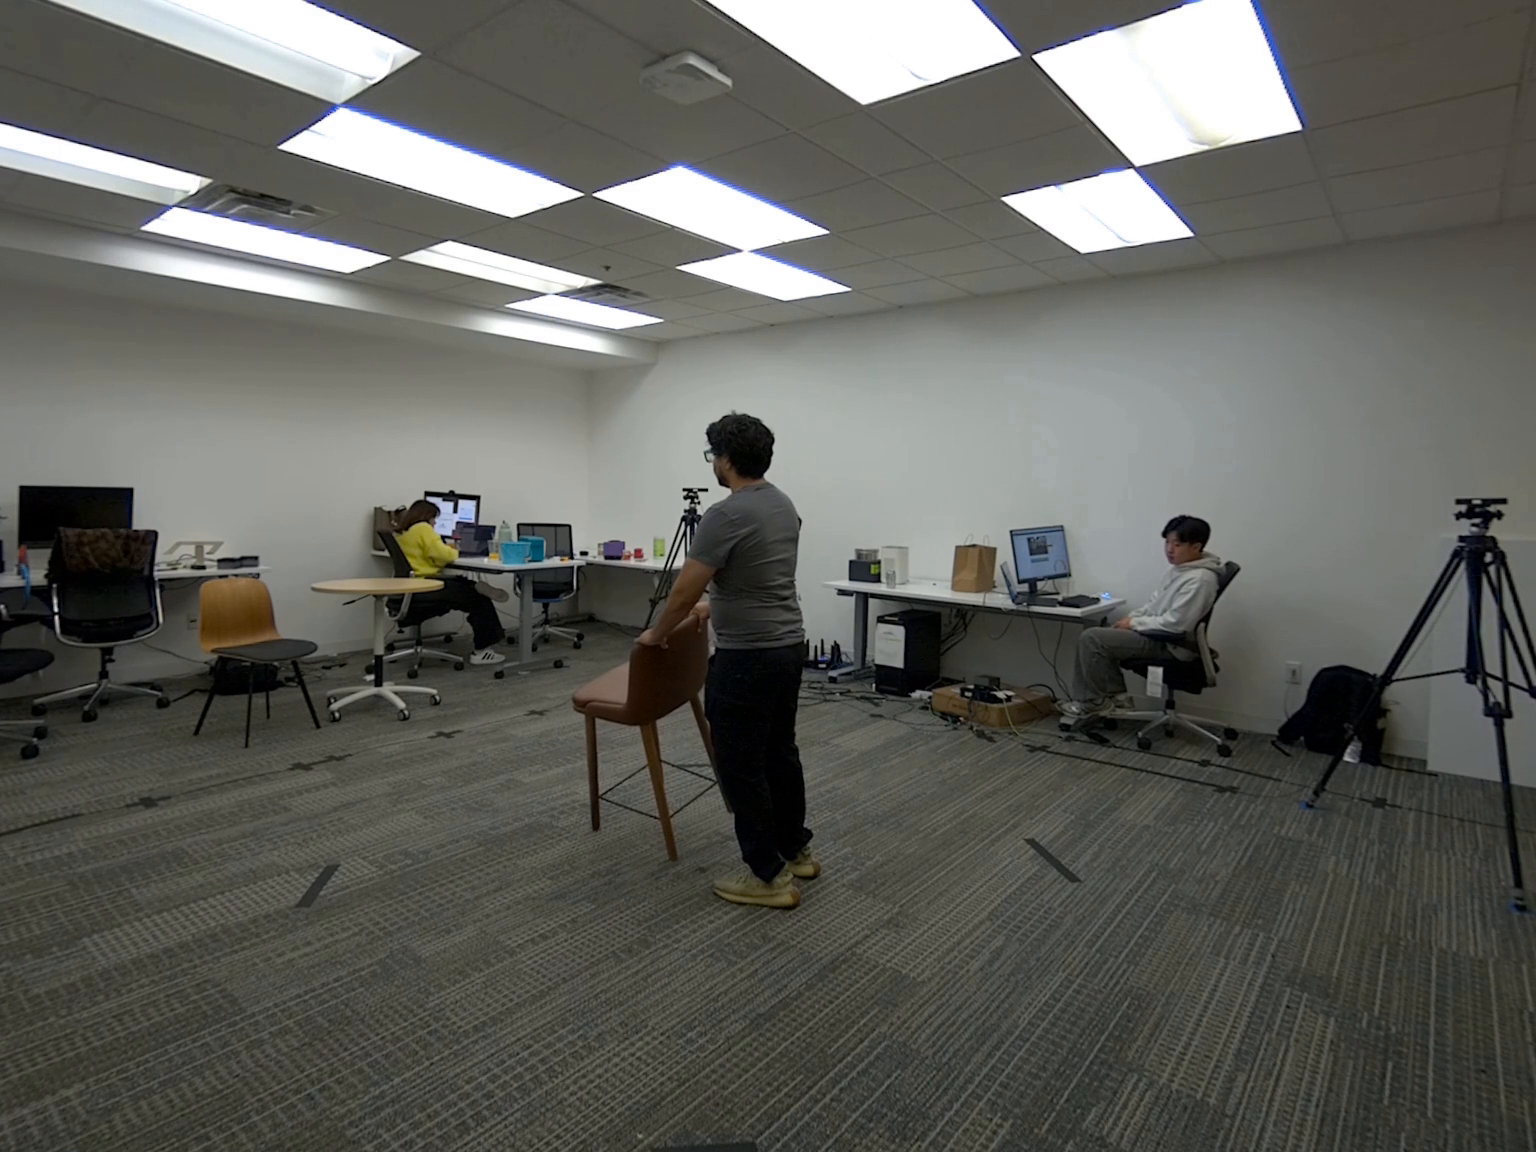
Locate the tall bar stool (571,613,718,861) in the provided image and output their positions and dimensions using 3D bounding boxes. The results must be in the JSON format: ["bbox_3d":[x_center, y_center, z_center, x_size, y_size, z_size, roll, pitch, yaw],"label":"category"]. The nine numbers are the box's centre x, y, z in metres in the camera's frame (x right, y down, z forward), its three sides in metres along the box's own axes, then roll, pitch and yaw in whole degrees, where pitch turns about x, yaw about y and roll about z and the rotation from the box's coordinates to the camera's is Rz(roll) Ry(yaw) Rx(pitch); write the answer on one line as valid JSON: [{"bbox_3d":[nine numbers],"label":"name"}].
[{"bbox_3d":[-0.476,0.576,3.349,0.484,0.876,0.448,7,19,39],"label":"tall bar stool"}]
